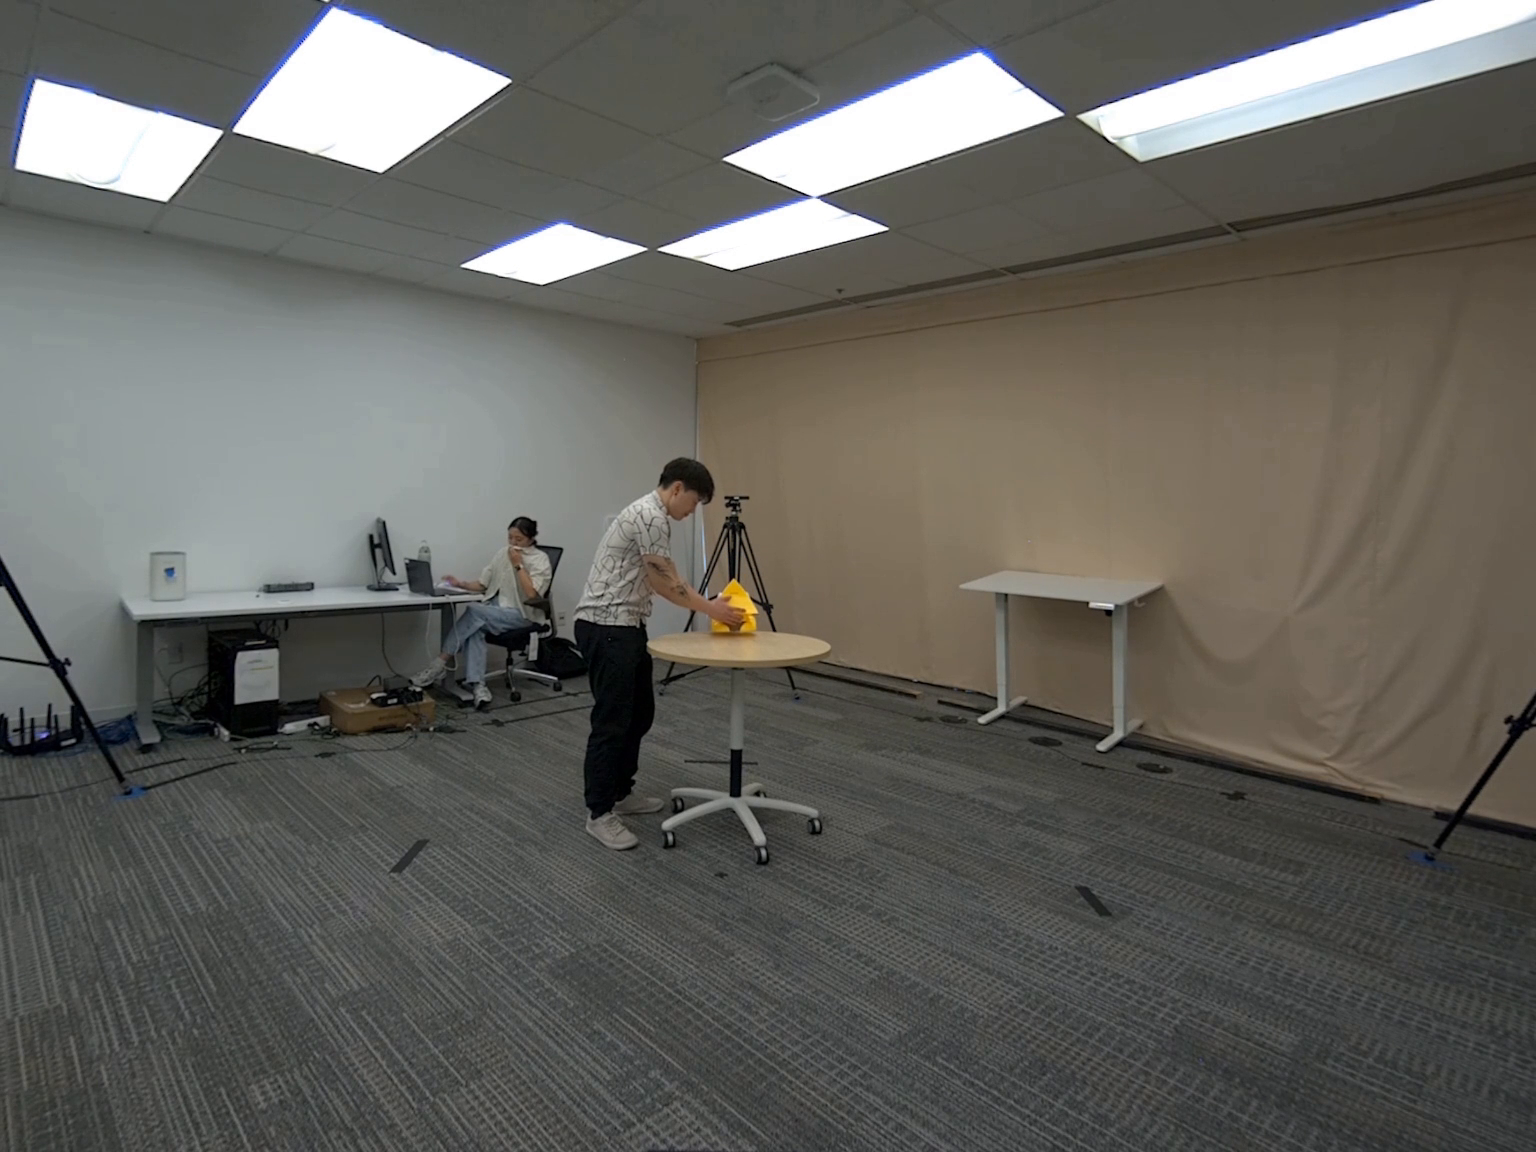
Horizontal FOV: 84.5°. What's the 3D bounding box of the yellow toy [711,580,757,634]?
[{"bbox_3d":[-0.168,0.121,3.758,0.204,0.230,0.194,-2,3,-4],"label":"yellow toy"}]
